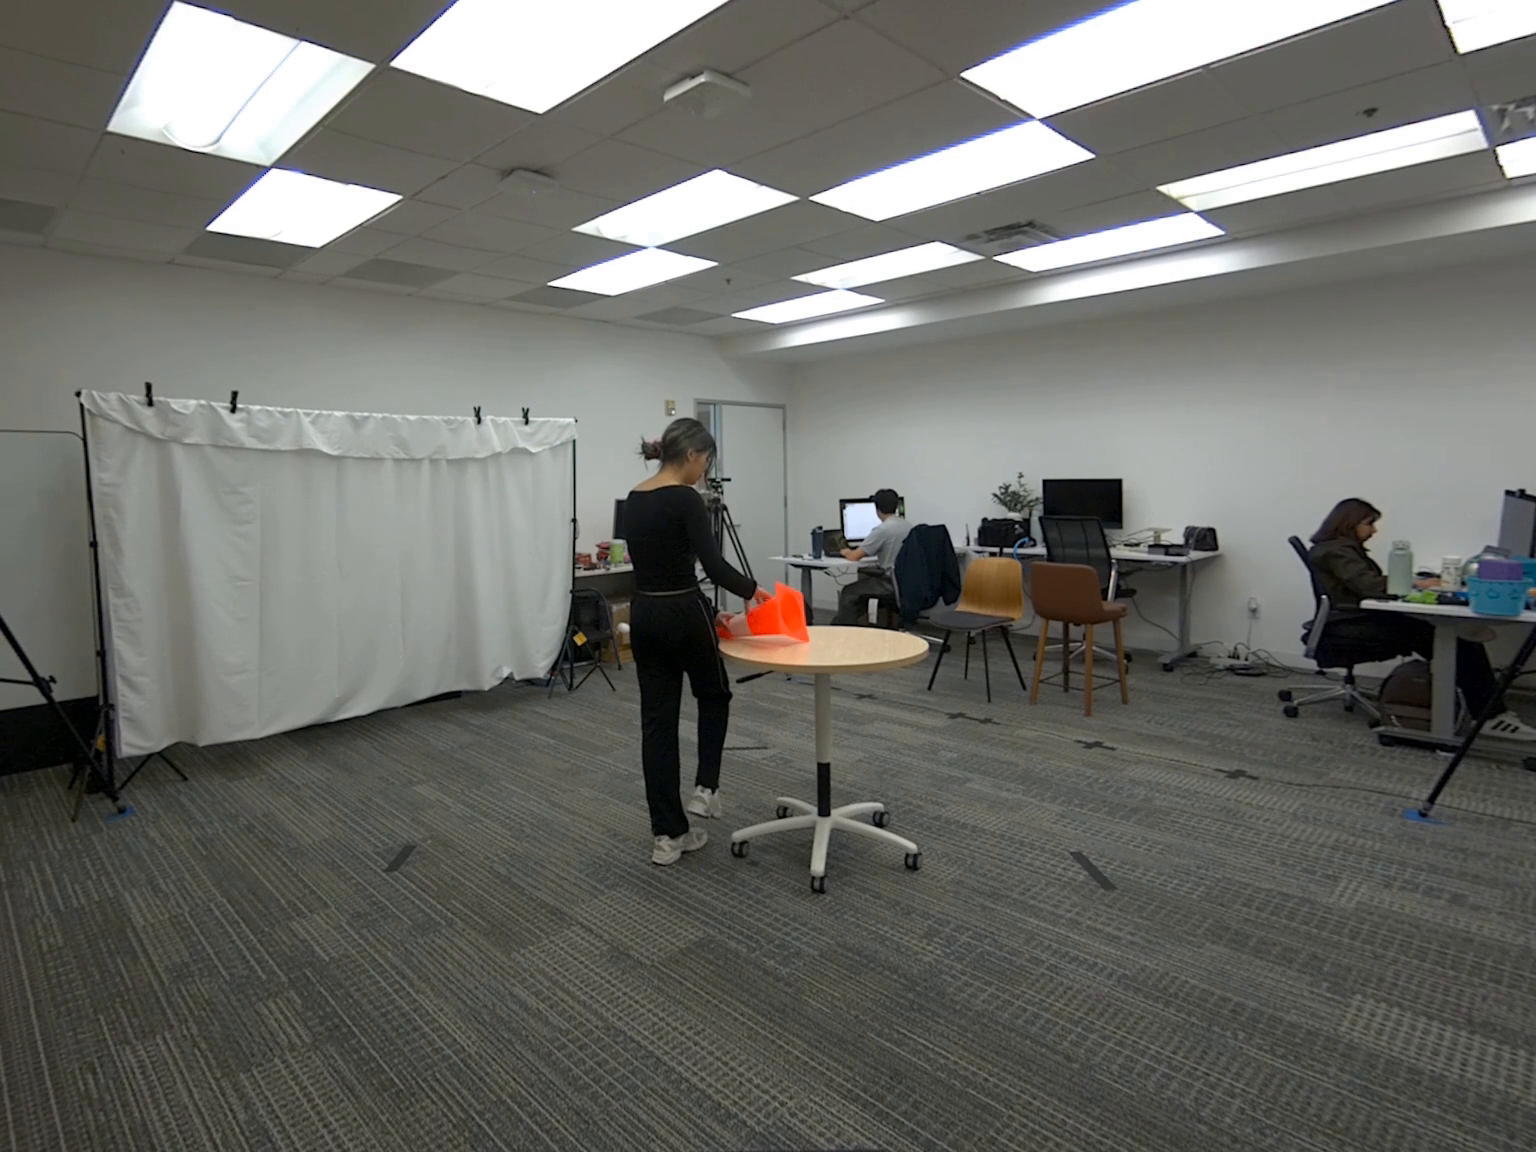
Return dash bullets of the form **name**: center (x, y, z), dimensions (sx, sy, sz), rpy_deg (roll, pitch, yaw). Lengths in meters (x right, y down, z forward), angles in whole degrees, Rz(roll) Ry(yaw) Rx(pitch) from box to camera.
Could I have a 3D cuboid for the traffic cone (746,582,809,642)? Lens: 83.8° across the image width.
- **traffic cone**: center (-0.074, 0.186, 3.237), dimensions (0.389, 0.208, 0.197), rpy_deg (-18, -26, 27)
